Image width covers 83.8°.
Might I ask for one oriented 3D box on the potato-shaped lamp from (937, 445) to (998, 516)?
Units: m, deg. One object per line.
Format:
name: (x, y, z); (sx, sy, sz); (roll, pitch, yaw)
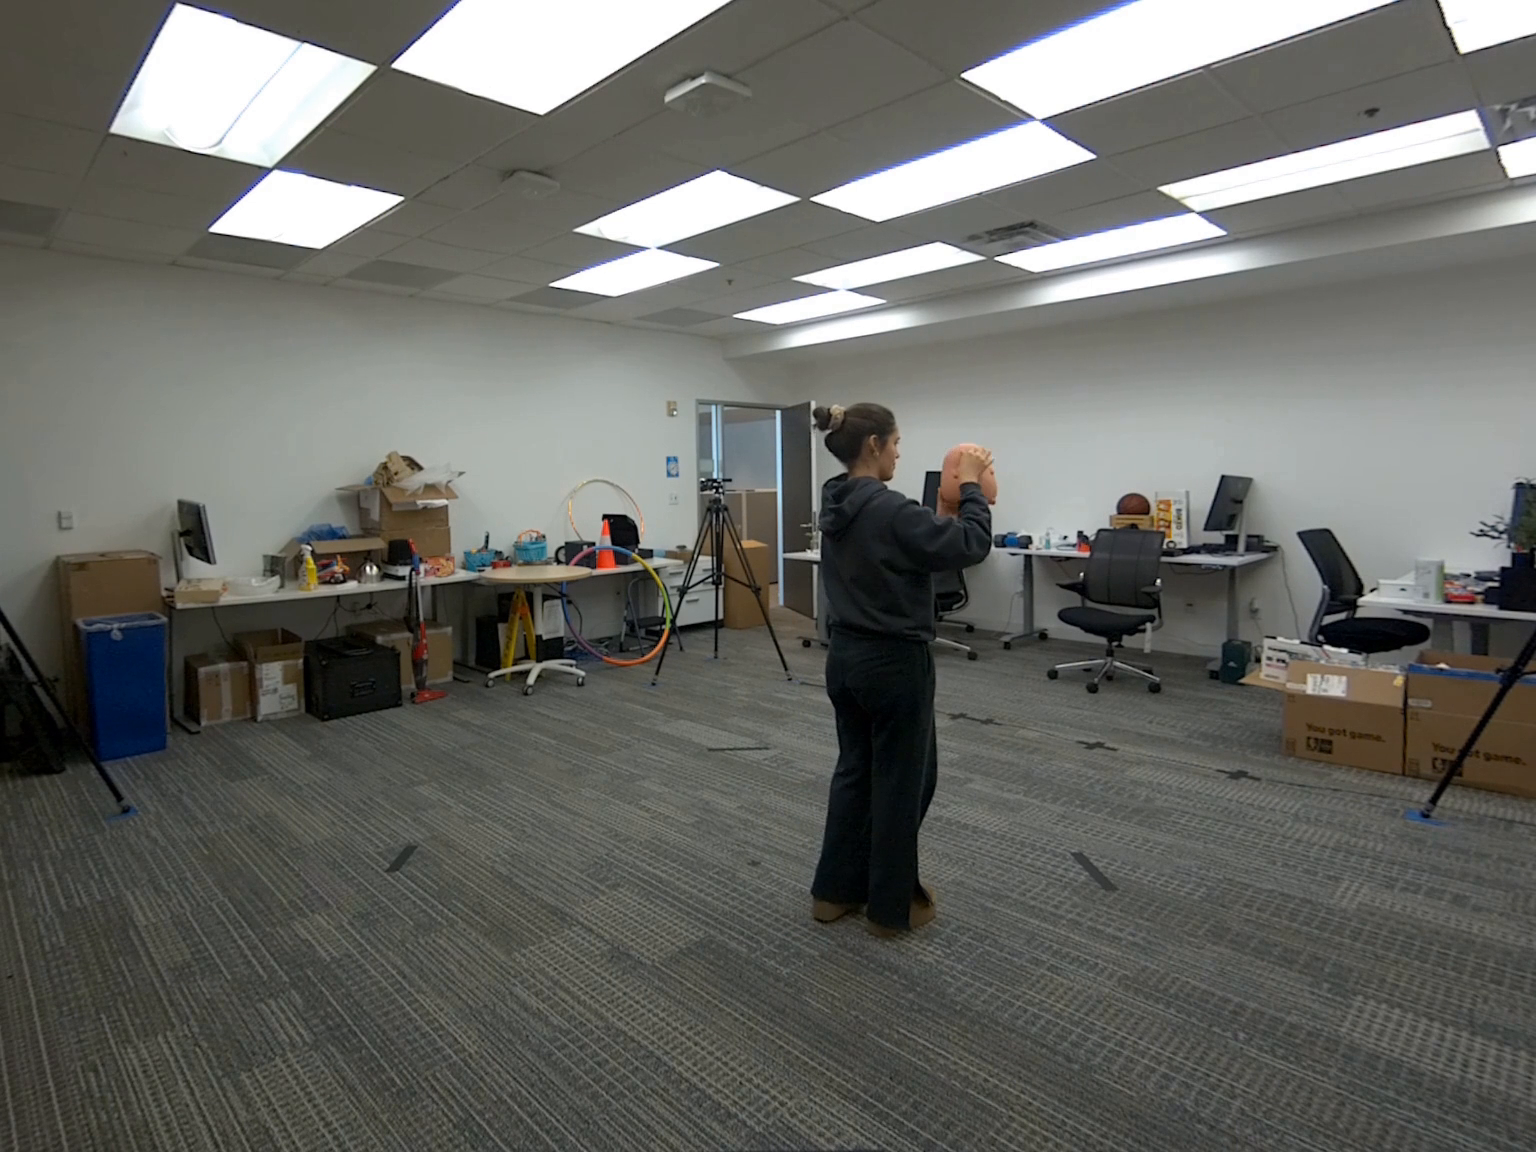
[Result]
potato-shaped lamp: (0.617, -0.315, 2.659); (0.164, 0.197, 0.173); (-5, 7, -3)
